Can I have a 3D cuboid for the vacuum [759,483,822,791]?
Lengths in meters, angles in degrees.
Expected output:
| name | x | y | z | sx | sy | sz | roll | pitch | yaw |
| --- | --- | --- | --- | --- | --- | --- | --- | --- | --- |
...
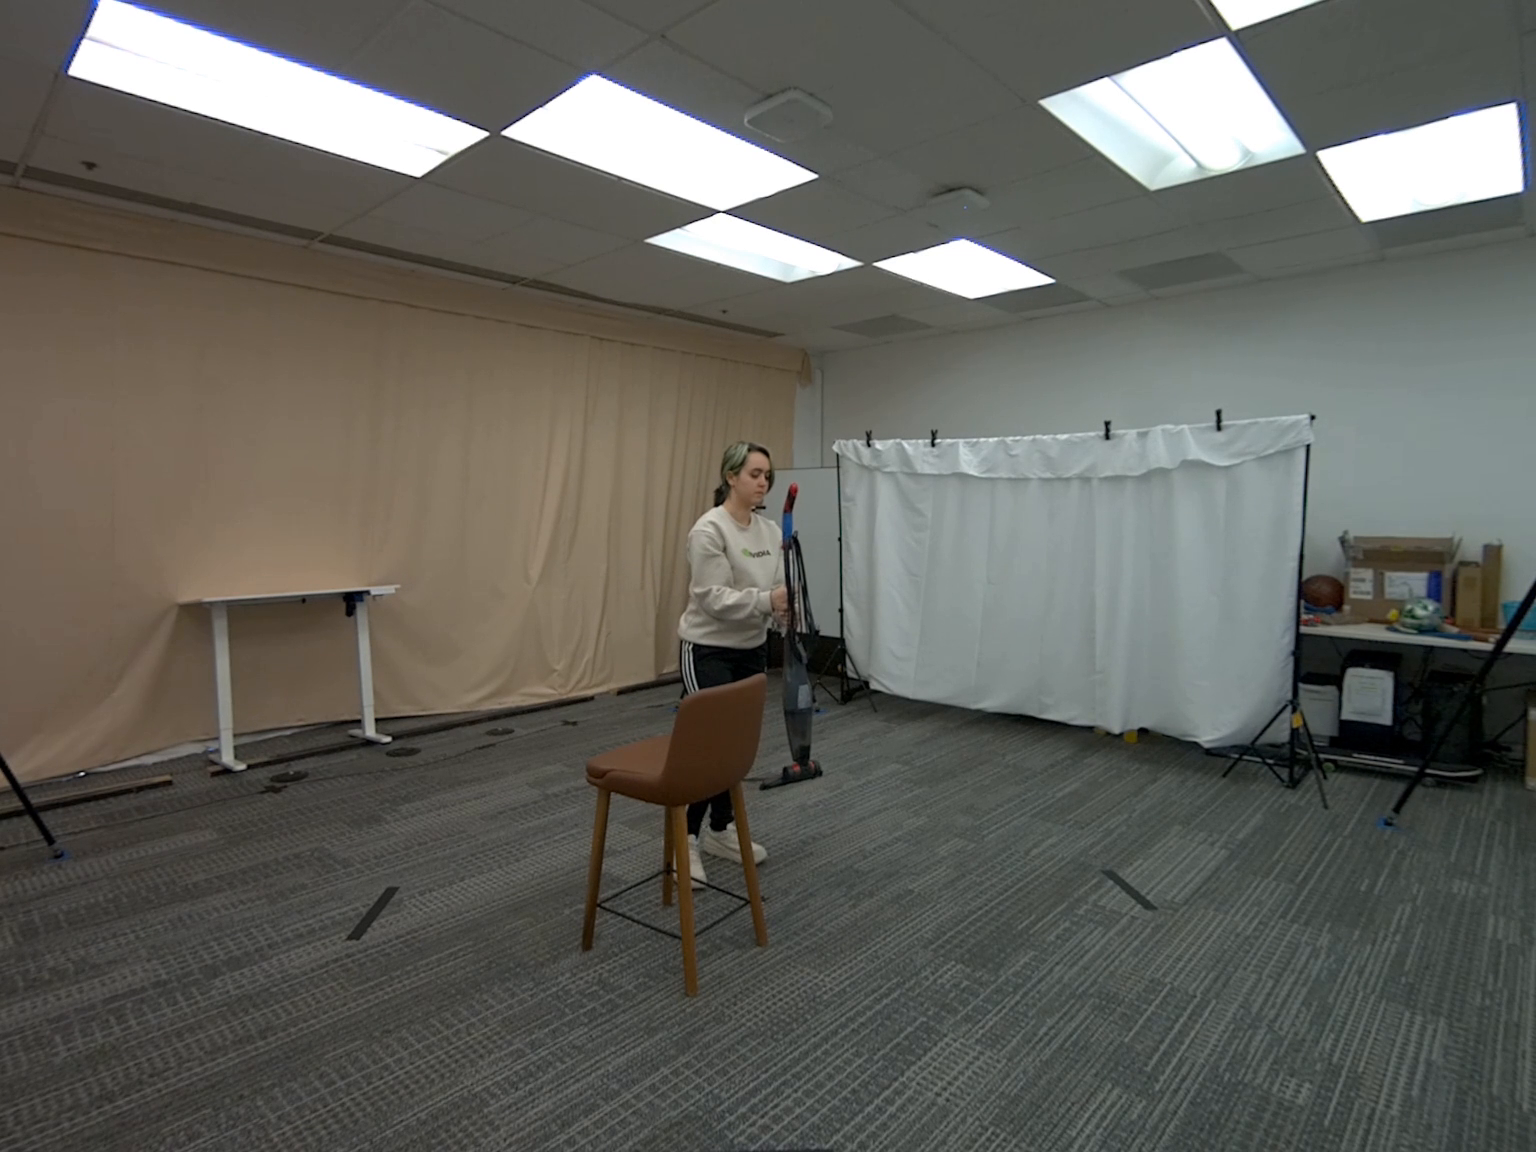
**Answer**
| name | x | y | z | sx | sy | sz | roll | pitch | yaw |
| --- | --- | --- | --- | --- | --- | --- | --- | --- | --- |
| vacuum | 0.103 | 0.212 | 2.964 | 0.246 | 1.044 | 0.148 | -3 | 9 | -31 |
